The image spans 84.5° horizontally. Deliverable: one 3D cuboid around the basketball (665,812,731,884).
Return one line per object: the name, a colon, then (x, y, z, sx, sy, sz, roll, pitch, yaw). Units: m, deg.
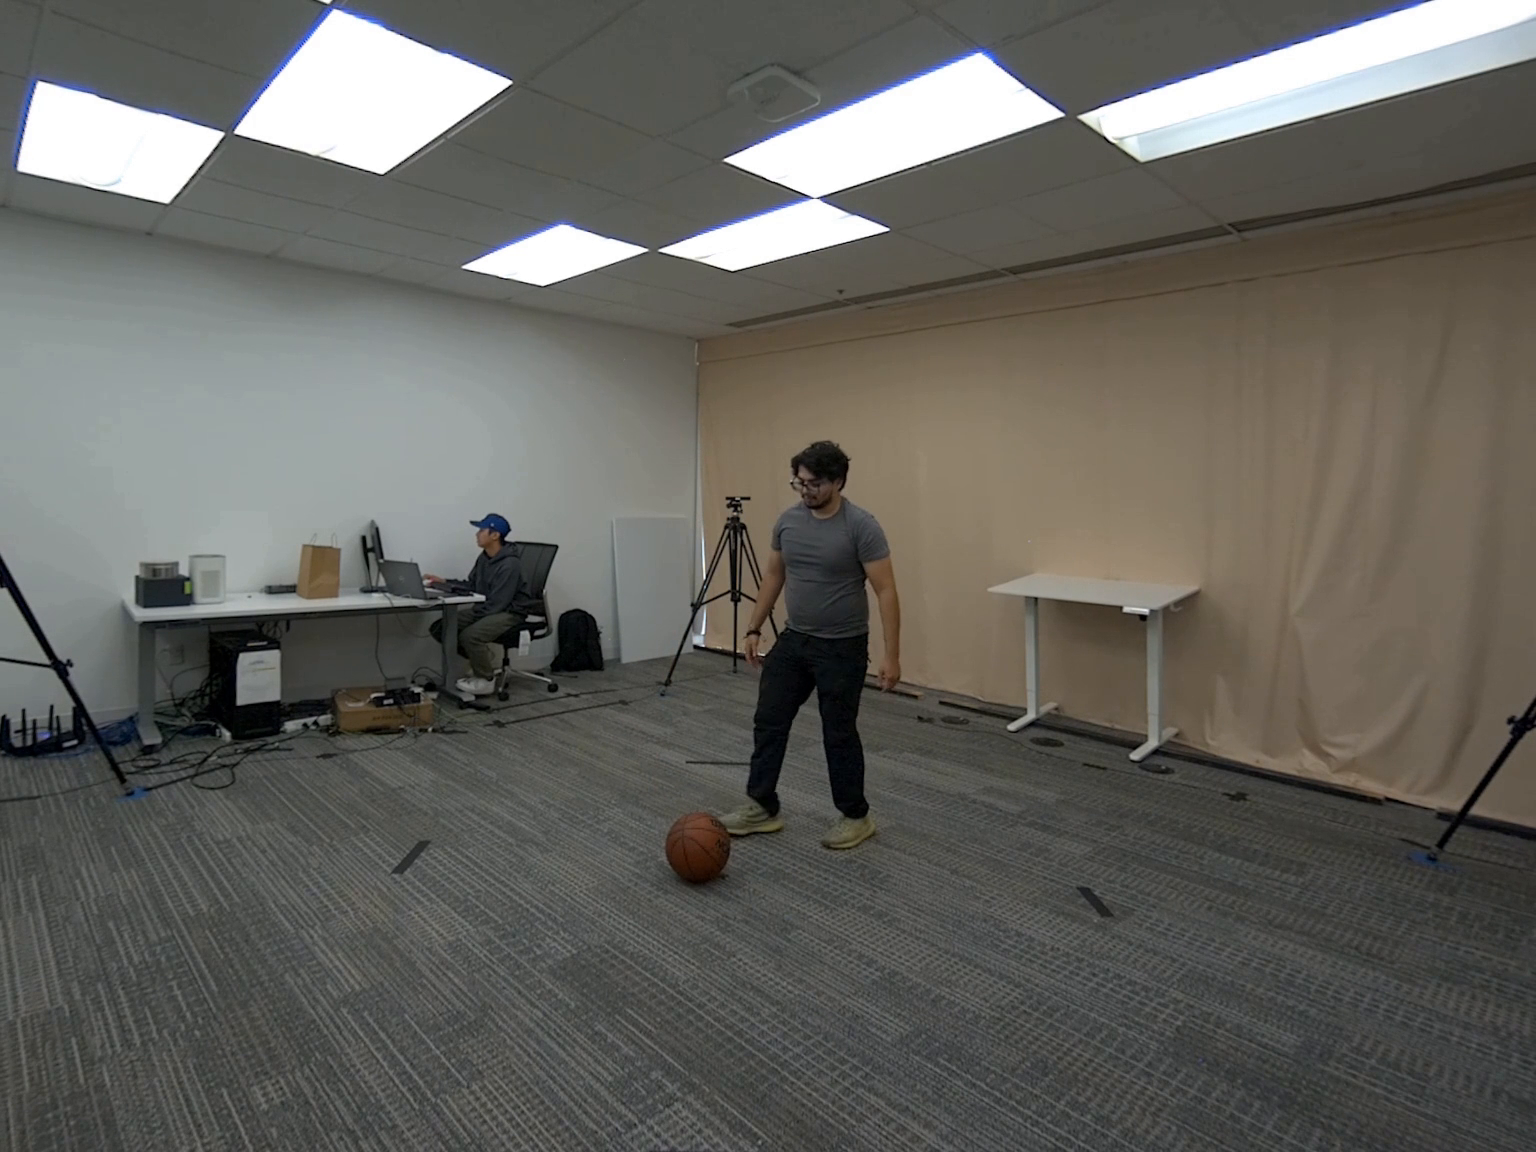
basketball: (-0.262, 0.988, 3.077, 0.236, 0.235, 0.237, 1, 4, -1)
